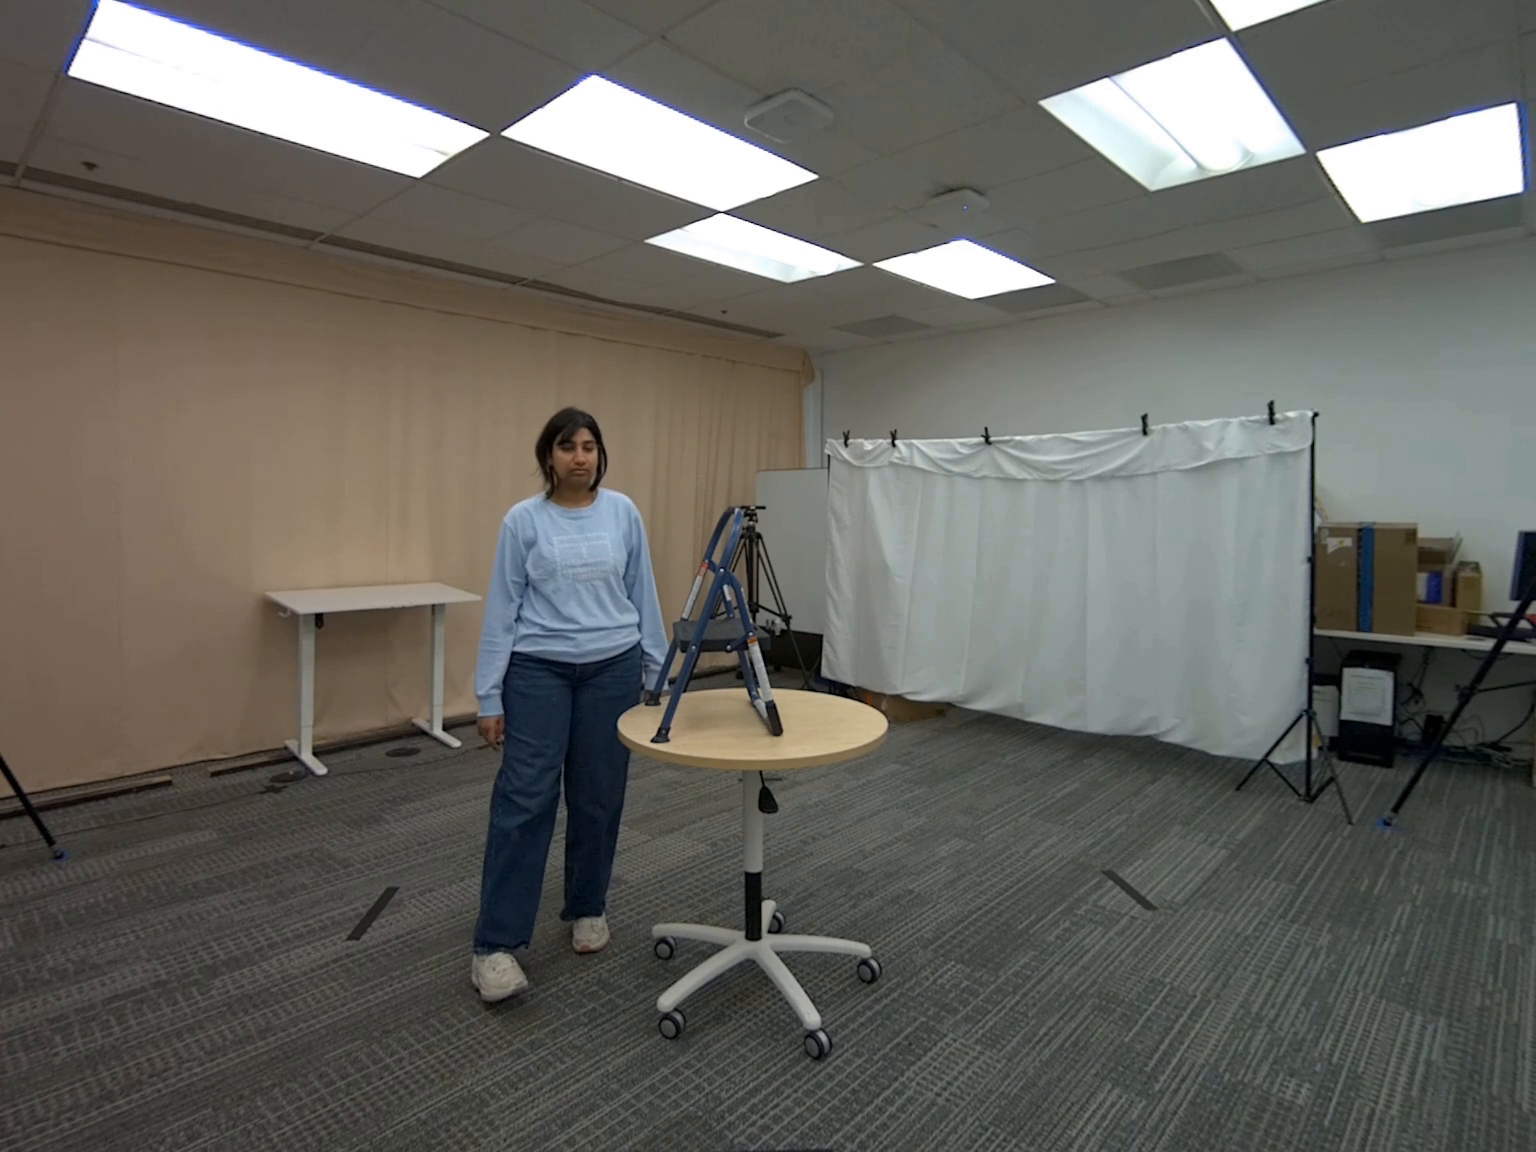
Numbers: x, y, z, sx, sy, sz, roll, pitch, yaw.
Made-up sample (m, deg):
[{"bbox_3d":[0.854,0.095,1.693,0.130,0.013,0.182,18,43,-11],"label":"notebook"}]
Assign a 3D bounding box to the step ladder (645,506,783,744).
[{"bbox_3d":[-0.160,0.109,2.383,0.346,0.605,0.436,-2,4,-10],"label":"step ladder"}]
